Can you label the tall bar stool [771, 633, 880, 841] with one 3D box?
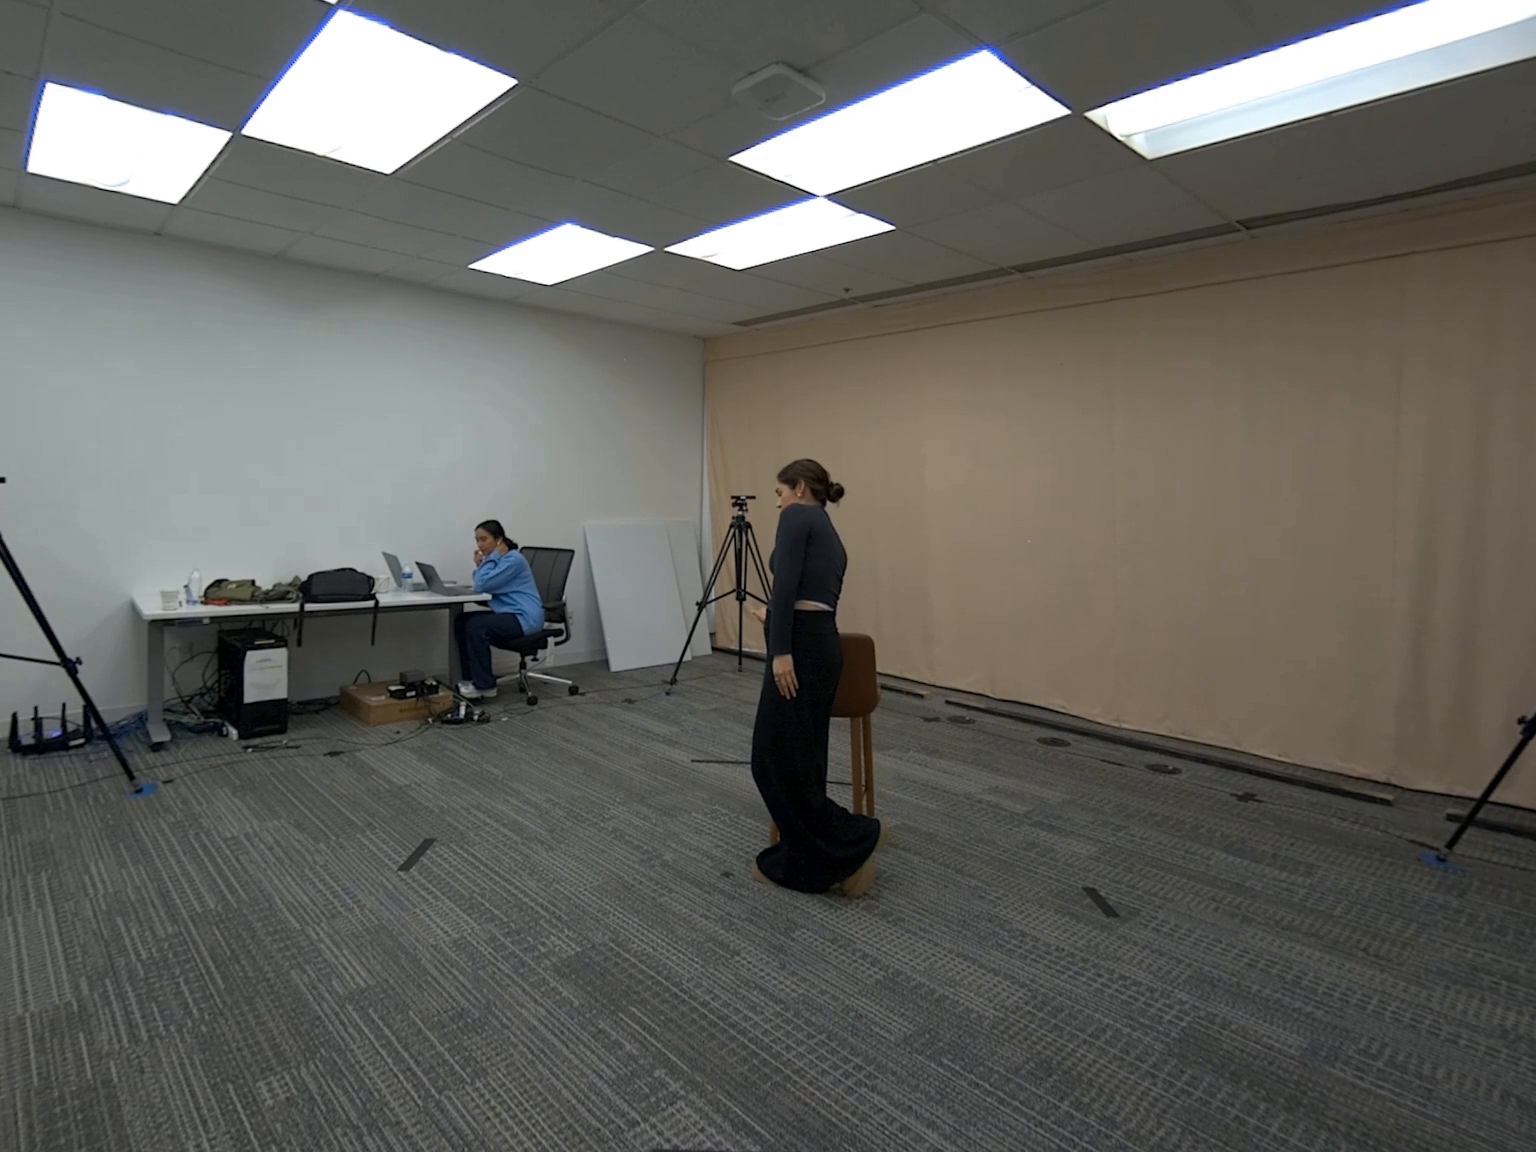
[{"bbox_3d":[0.238,0.638,3.541,0.461,0.886,0.464,2,5,12],"label":"tall bar stool"}]
